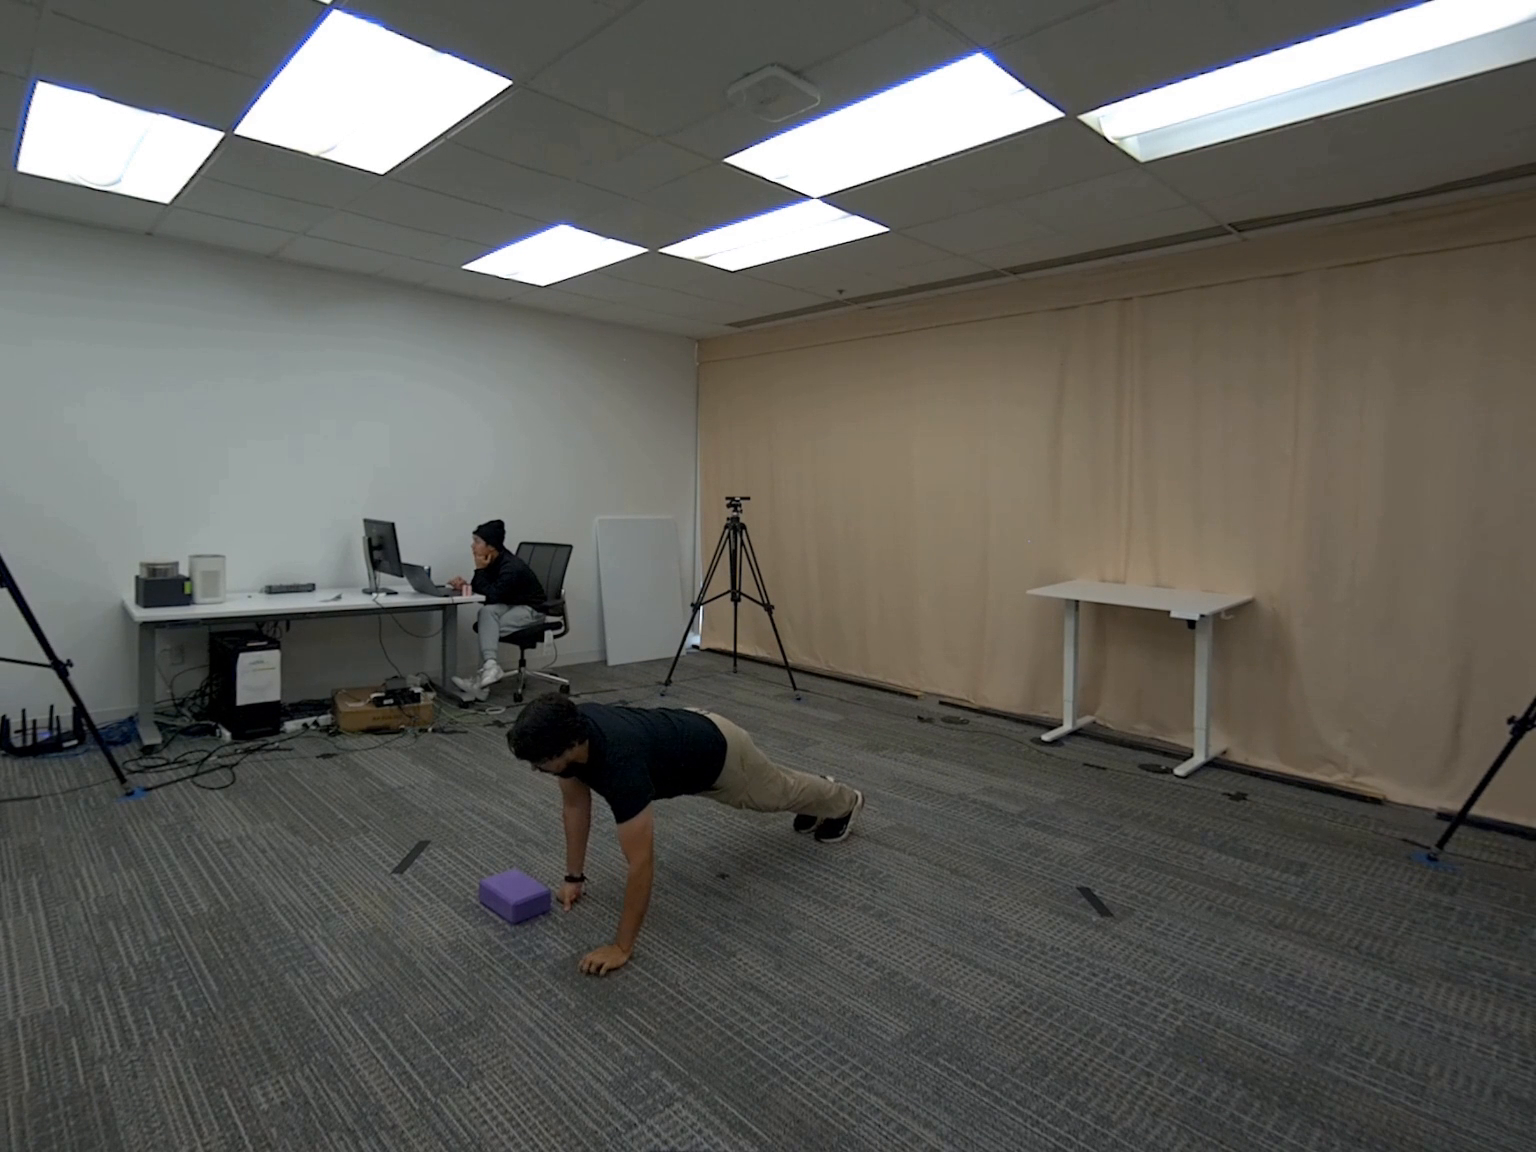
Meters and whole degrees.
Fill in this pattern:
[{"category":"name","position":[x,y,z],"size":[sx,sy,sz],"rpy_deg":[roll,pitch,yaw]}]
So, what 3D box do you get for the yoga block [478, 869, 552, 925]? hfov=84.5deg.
[{"category":"yoga block","position":[-0.860,1.076,2.833],"size":[0.235,0.076,0.146],"rpy_deg":[7,8,43]}]
